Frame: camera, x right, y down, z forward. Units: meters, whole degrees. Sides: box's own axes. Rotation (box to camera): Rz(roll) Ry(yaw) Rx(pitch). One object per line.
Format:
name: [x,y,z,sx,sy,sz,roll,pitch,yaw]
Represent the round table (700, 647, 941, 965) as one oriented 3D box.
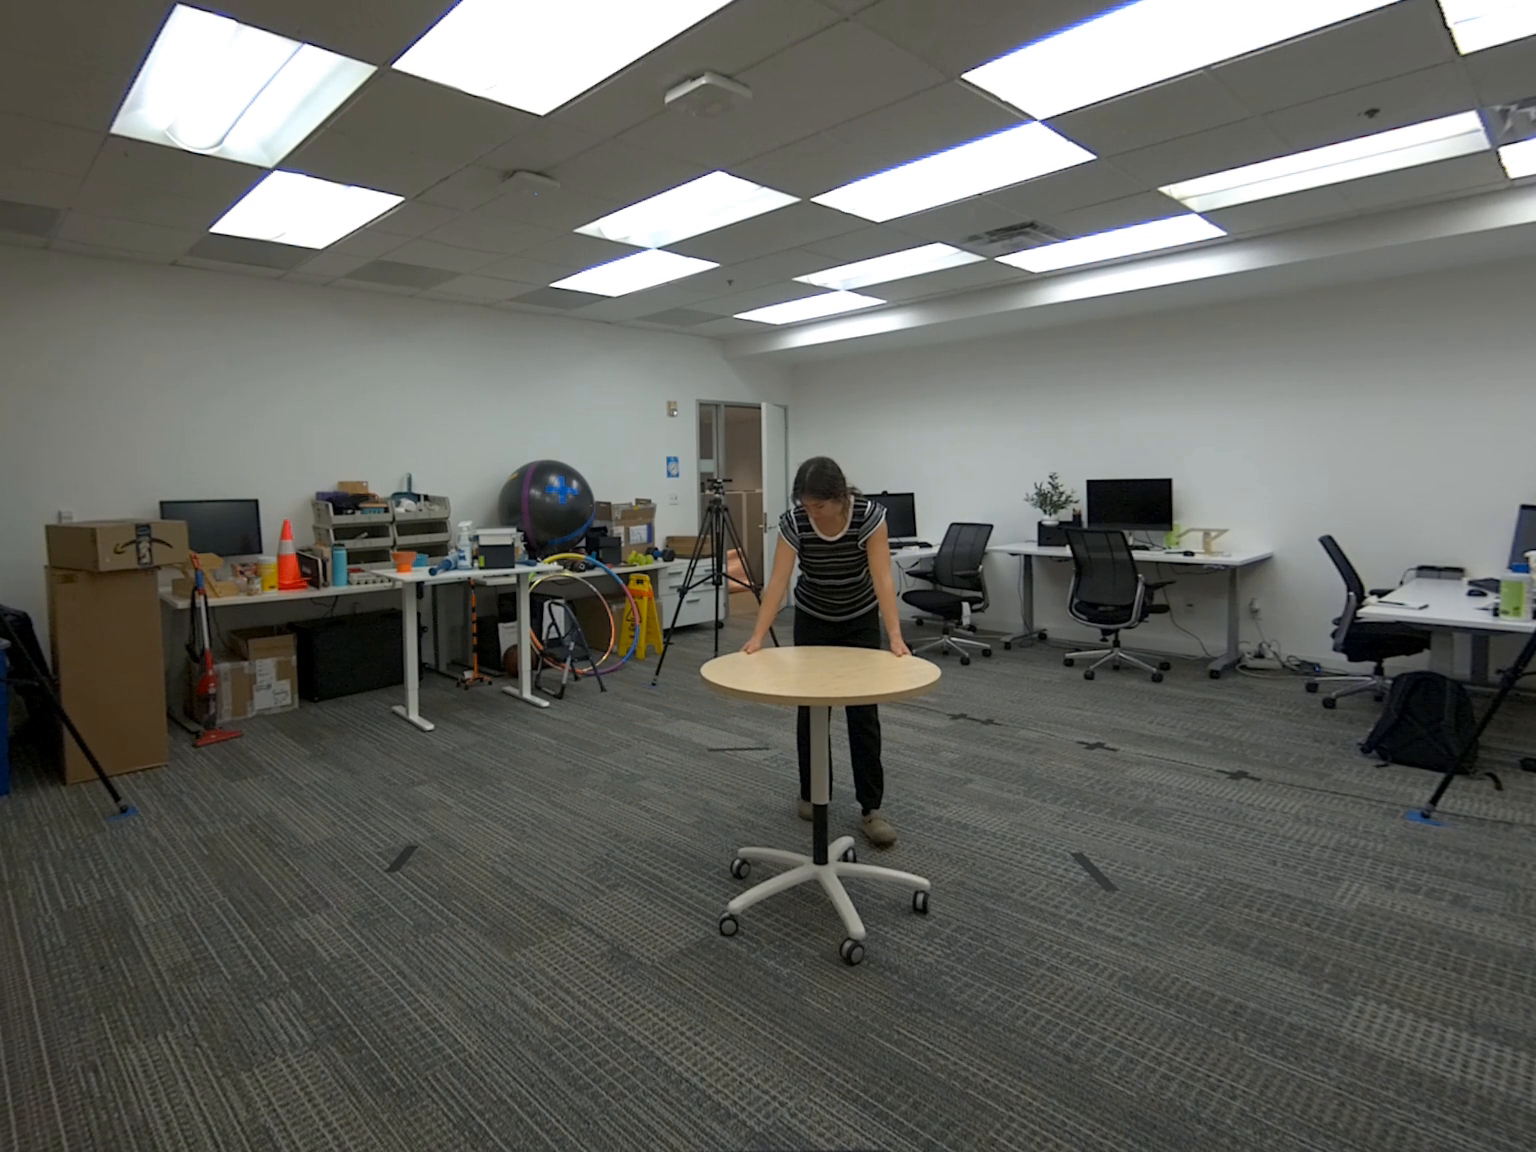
round table: [0.163,0.692,2.770,0.763,0.791,0.767,-1,4,-2]
